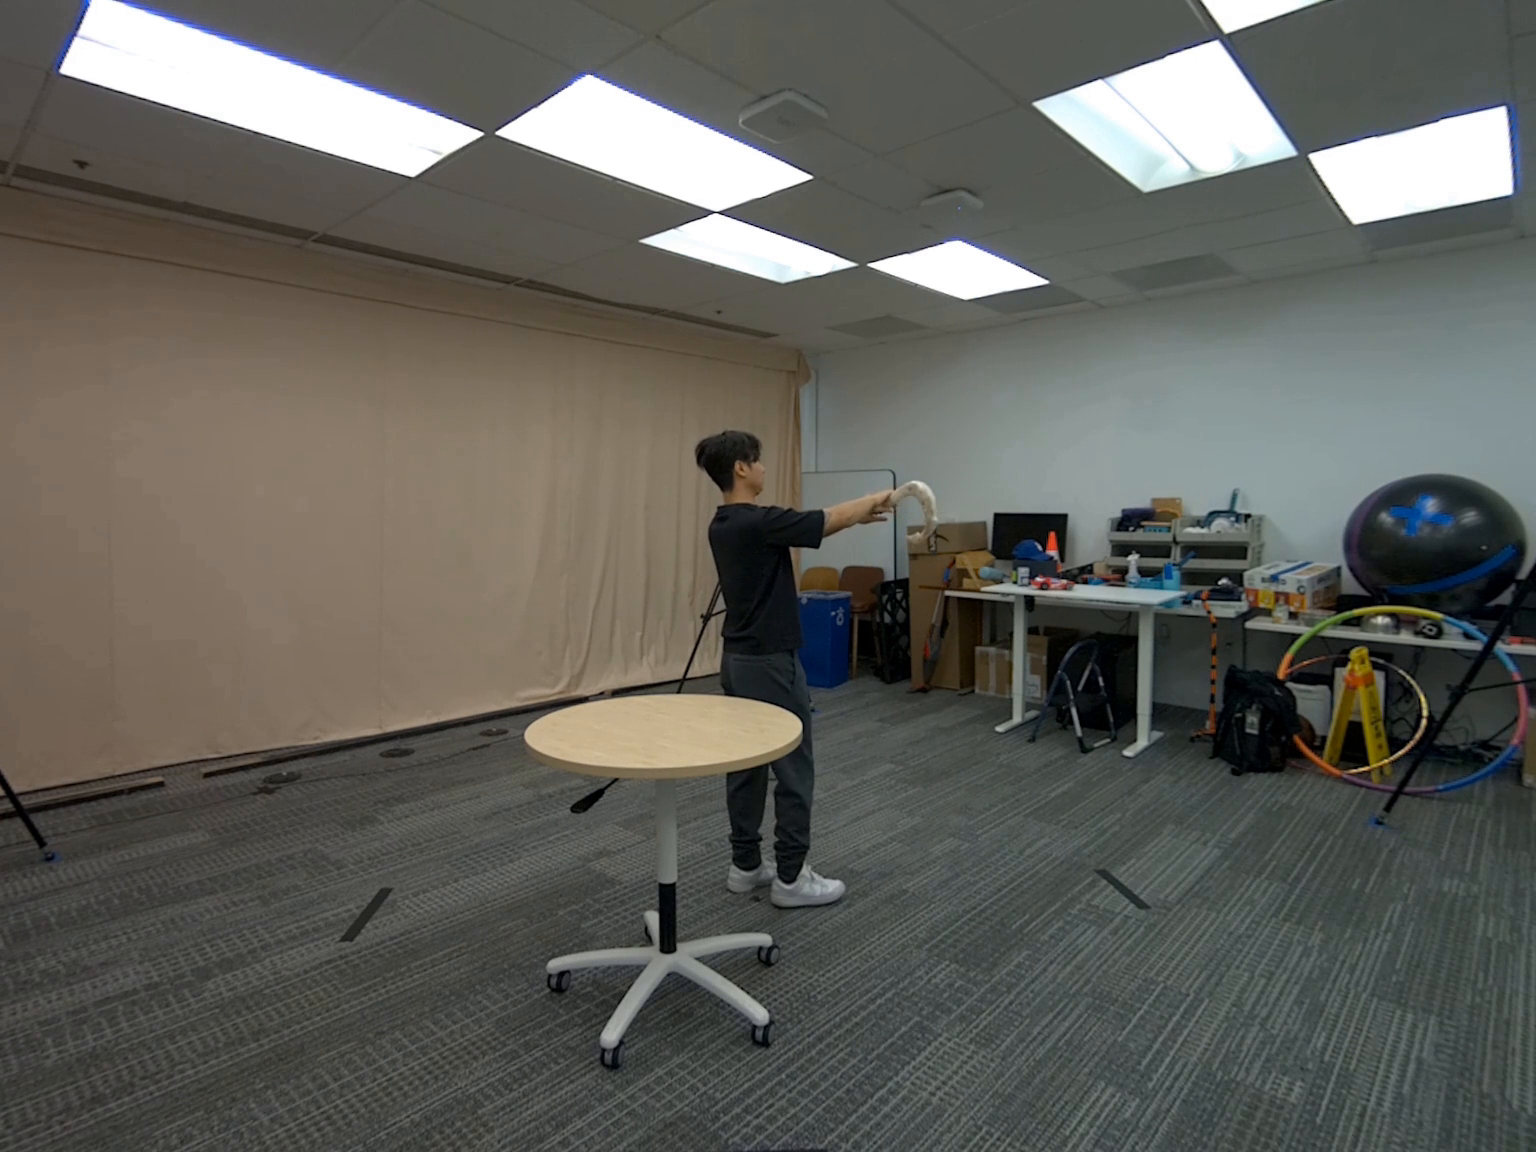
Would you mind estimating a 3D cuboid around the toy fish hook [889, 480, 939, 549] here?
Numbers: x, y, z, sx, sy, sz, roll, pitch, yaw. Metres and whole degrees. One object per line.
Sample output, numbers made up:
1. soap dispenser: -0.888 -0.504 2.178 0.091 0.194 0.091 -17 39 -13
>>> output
1. toy fish hook: 0.476 -0.217 3.132 0.047 0.225 0.516 -2 -4 -24
